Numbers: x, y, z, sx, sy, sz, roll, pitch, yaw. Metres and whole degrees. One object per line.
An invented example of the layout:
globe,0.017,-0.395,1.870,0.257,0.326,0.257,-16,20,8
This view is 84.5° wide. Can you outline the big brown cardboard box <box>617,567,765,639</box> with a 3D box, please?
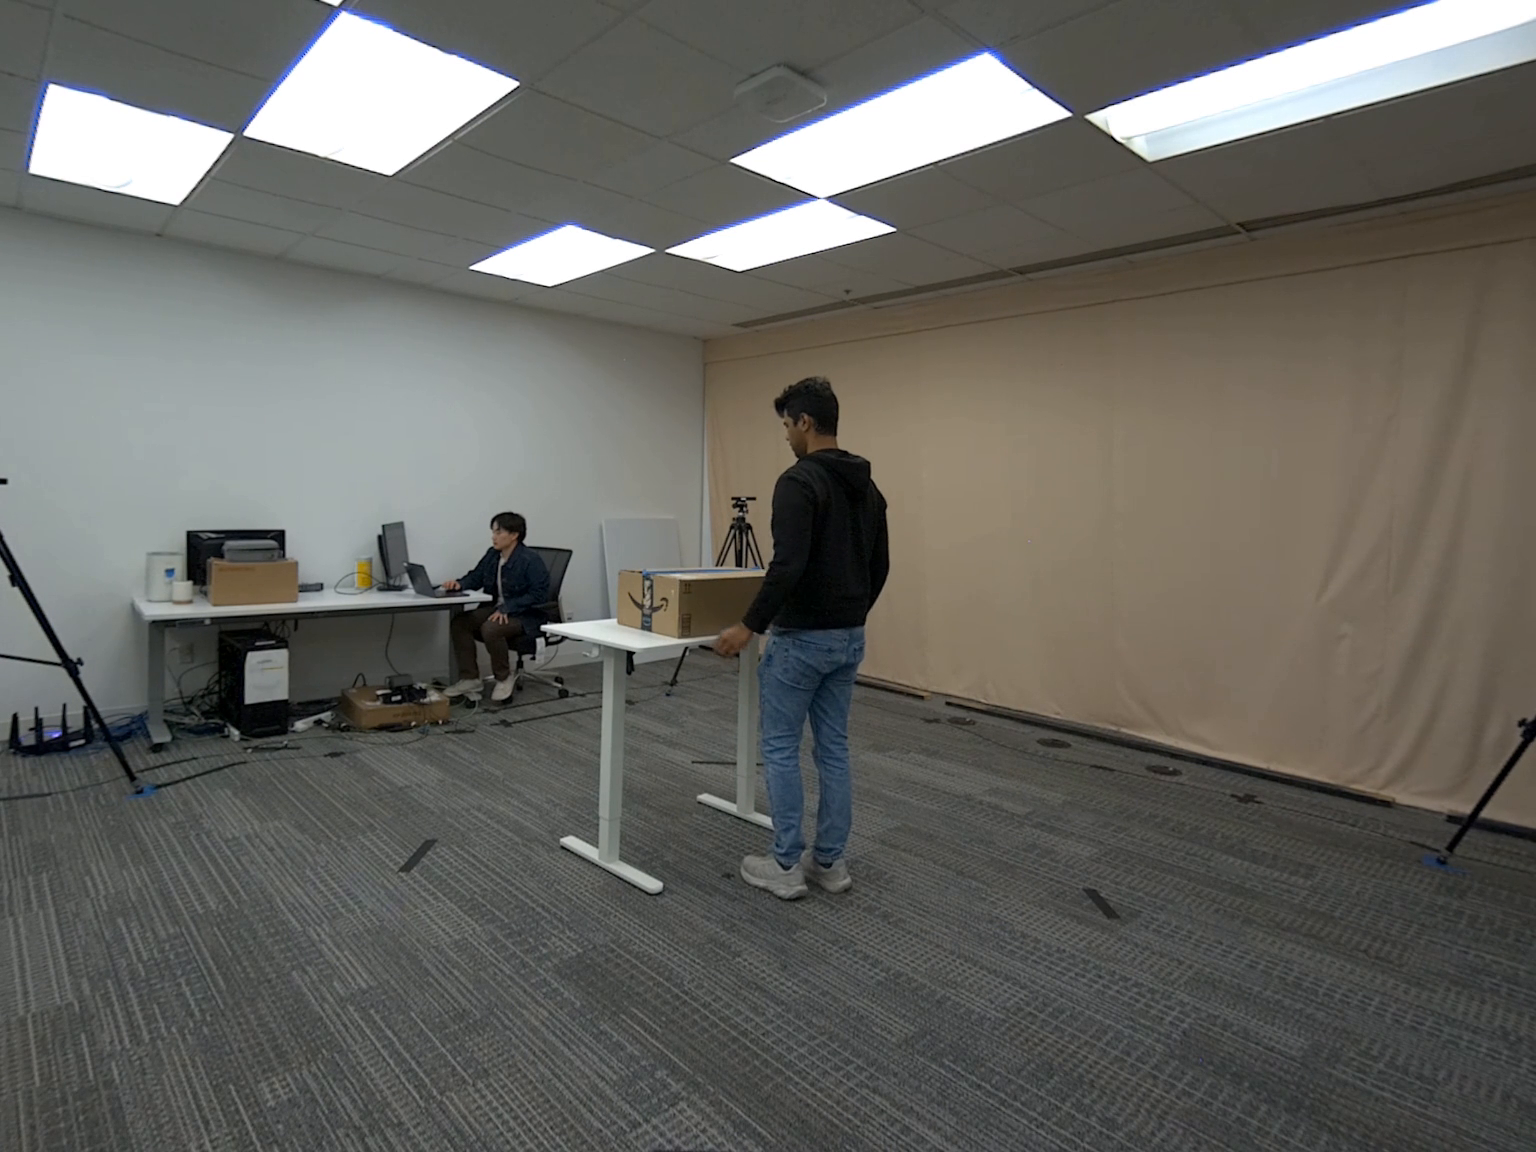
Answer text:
big brown cardboard box,-0.256,0.090,3.351,0.575,0.232,0.428,-1,5,-41
